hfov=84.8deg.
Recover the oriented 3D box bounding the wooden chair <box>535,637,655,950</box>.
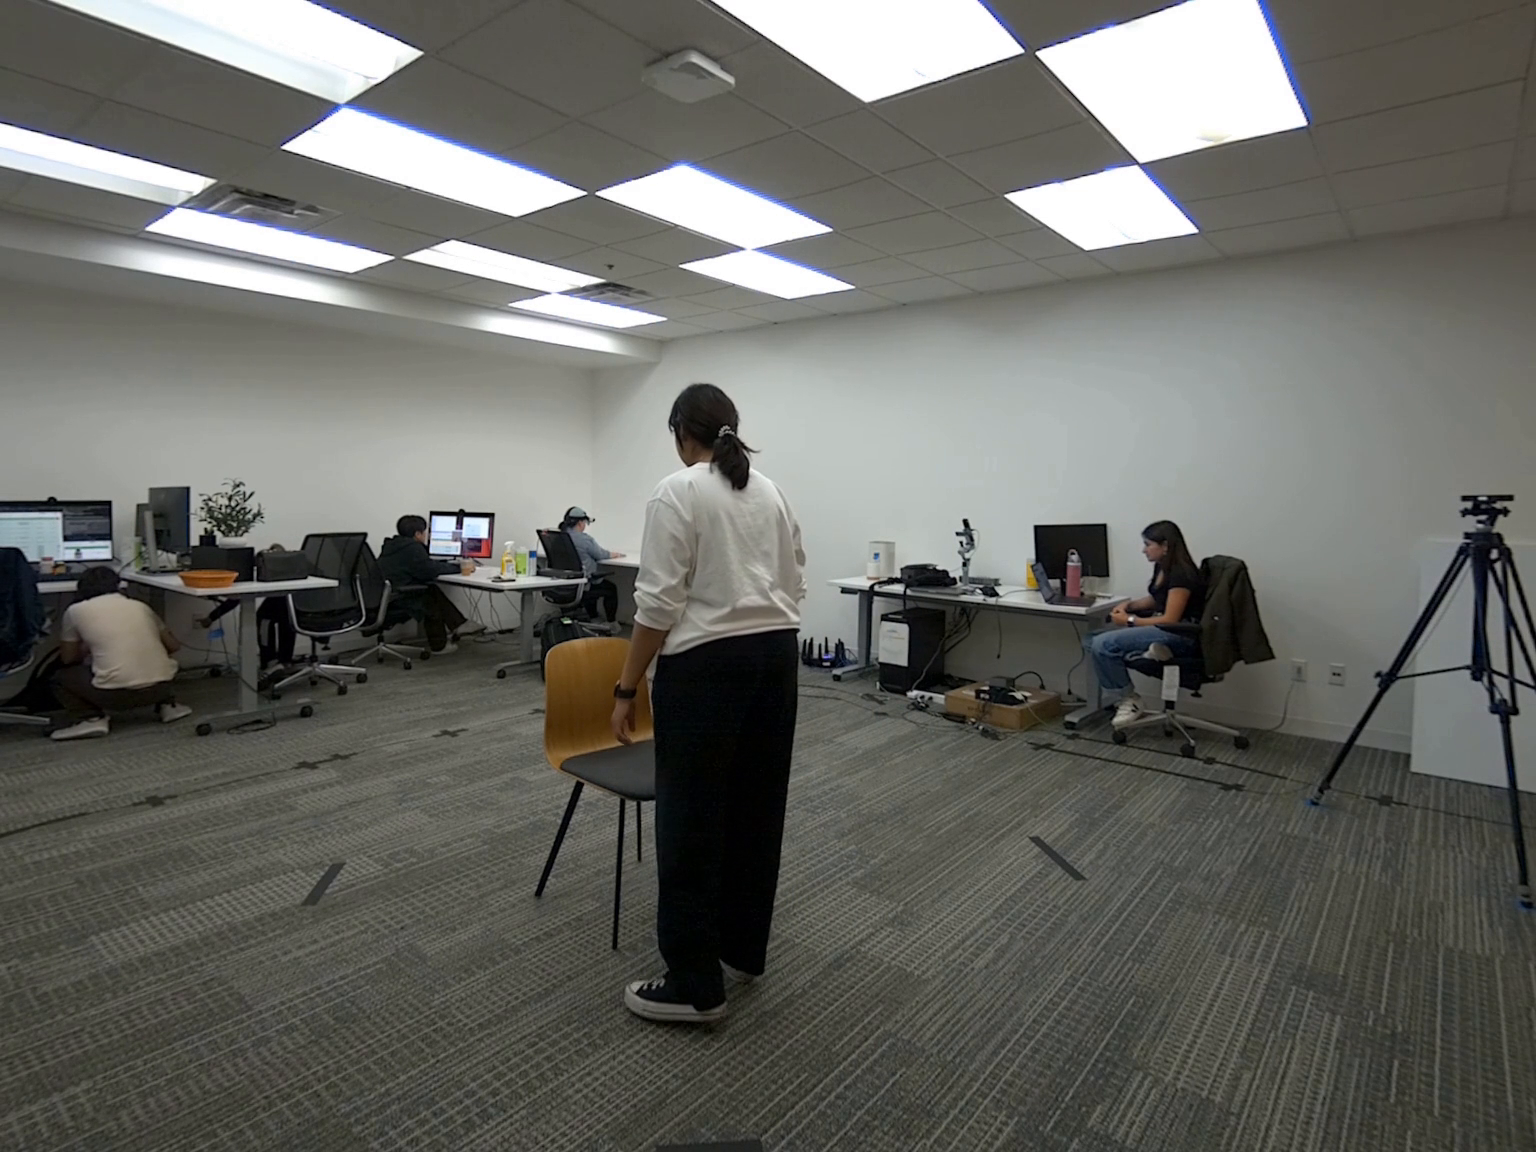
[{"bbox_3d":[-0.458,0.662,2.831,0.539,0.877,0.463,-1,0,45],"label":"wooden chair"}]
